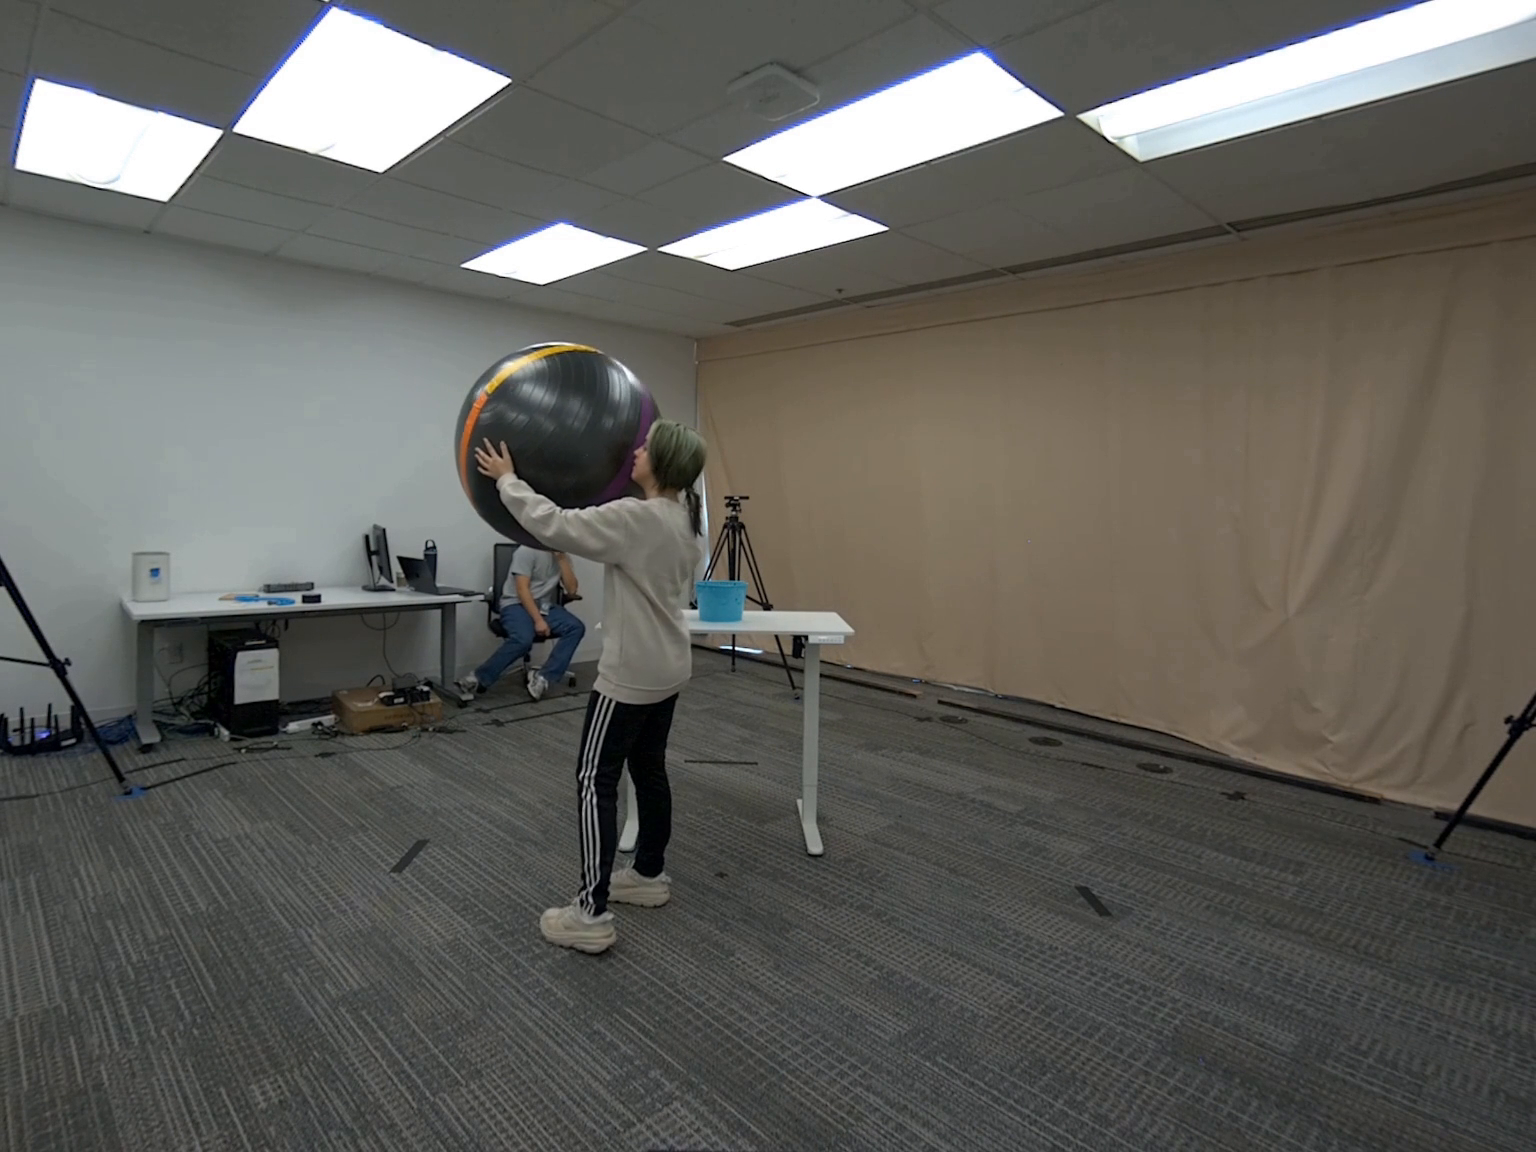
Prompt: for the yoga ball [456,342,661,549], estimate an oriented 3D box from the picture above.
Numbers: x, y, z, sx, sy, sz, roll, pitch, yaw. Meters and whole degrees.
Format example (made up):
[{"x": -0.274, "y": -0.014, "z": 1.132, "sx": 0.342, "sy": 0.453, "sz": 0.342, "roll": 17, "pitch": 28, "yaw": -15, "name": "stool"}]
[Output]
[{"x": -0.761, "y": -0.464, "z": 3.066, "sx": 0.757, "sy": 0.756, "sz": 0.761, "roll": 1, "pitch": 4, "yaw": -1, "name": "yoga ball"}]
